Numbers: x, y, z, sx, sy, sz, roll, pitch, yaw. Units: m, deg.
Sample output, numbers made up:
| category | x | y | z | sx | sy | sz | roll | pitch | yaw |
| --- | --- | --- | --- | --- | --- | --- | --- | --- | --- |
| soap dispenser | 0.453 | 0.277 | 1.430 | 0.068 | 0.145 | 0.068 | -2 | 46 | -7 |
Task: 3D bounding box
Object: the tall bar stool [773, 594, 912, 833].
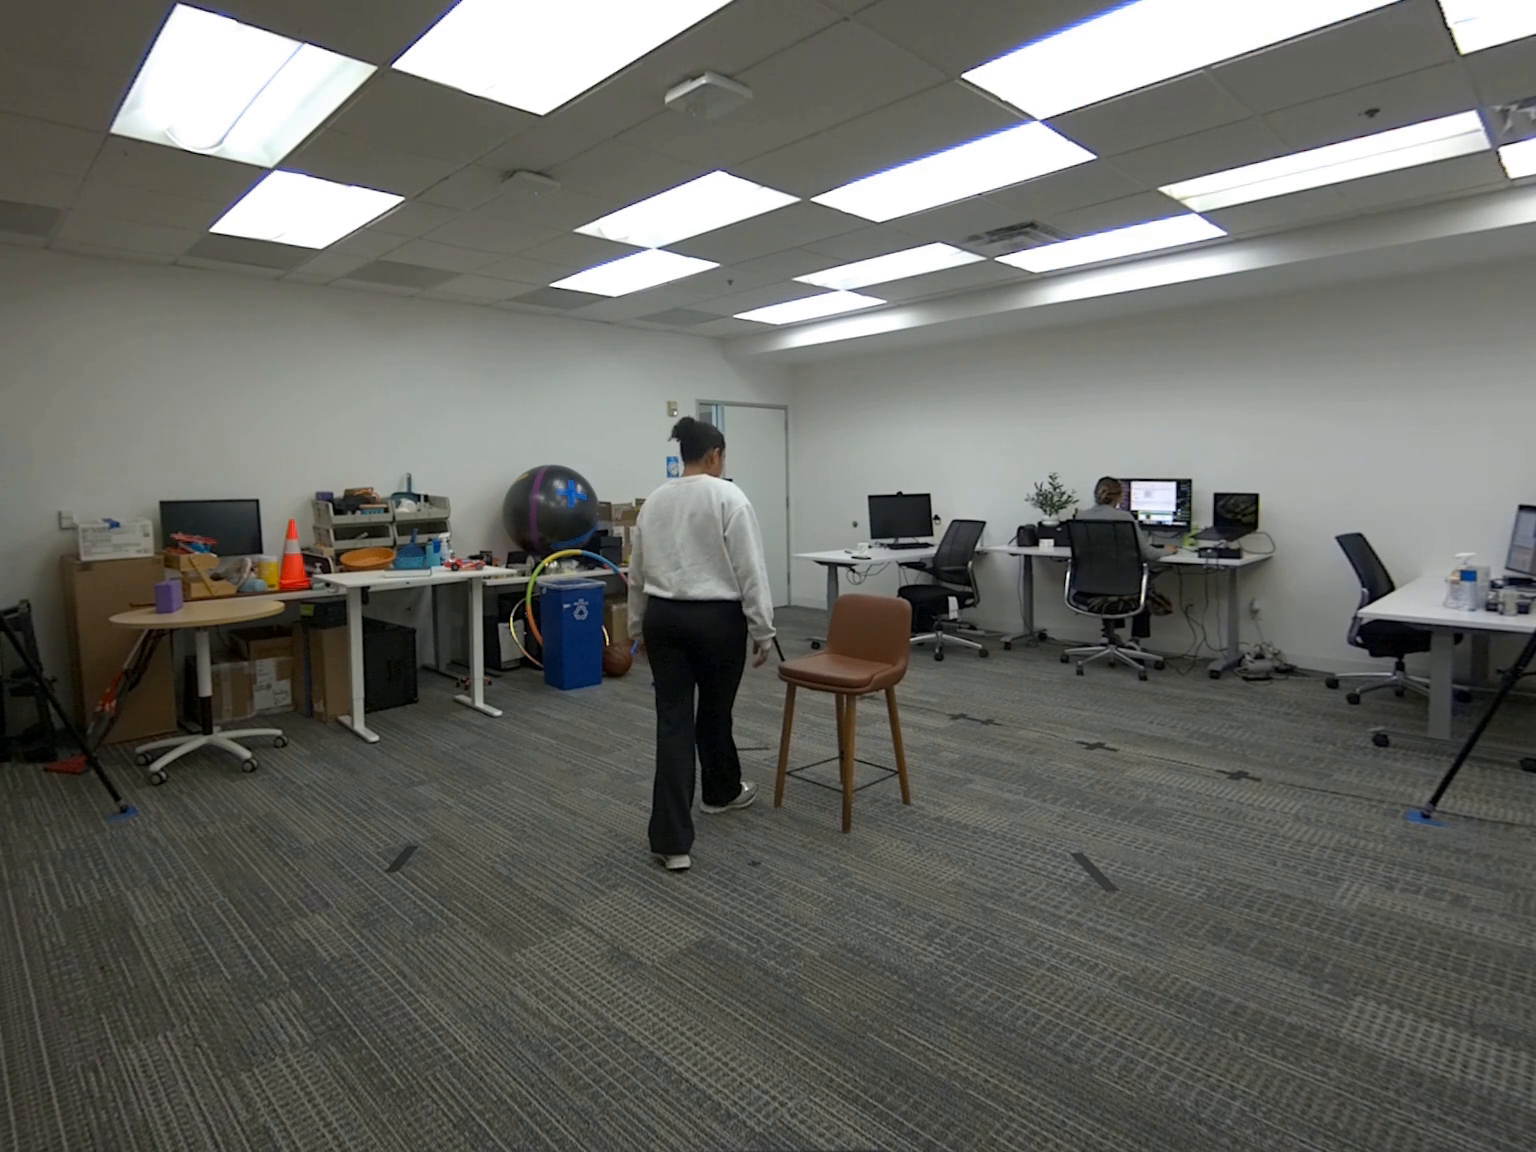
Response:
| category | x | y | z | sx | sy | sz | roll | pitch | yaw |
| --- | --- | --- | --- | --- | --- | --- | --- | --- | --- |
| tall bar stool | 0.320 | 0.541 | 3.627 | 0.454 | 0.888 | 0.471 | -2 | 4 | -44 |
